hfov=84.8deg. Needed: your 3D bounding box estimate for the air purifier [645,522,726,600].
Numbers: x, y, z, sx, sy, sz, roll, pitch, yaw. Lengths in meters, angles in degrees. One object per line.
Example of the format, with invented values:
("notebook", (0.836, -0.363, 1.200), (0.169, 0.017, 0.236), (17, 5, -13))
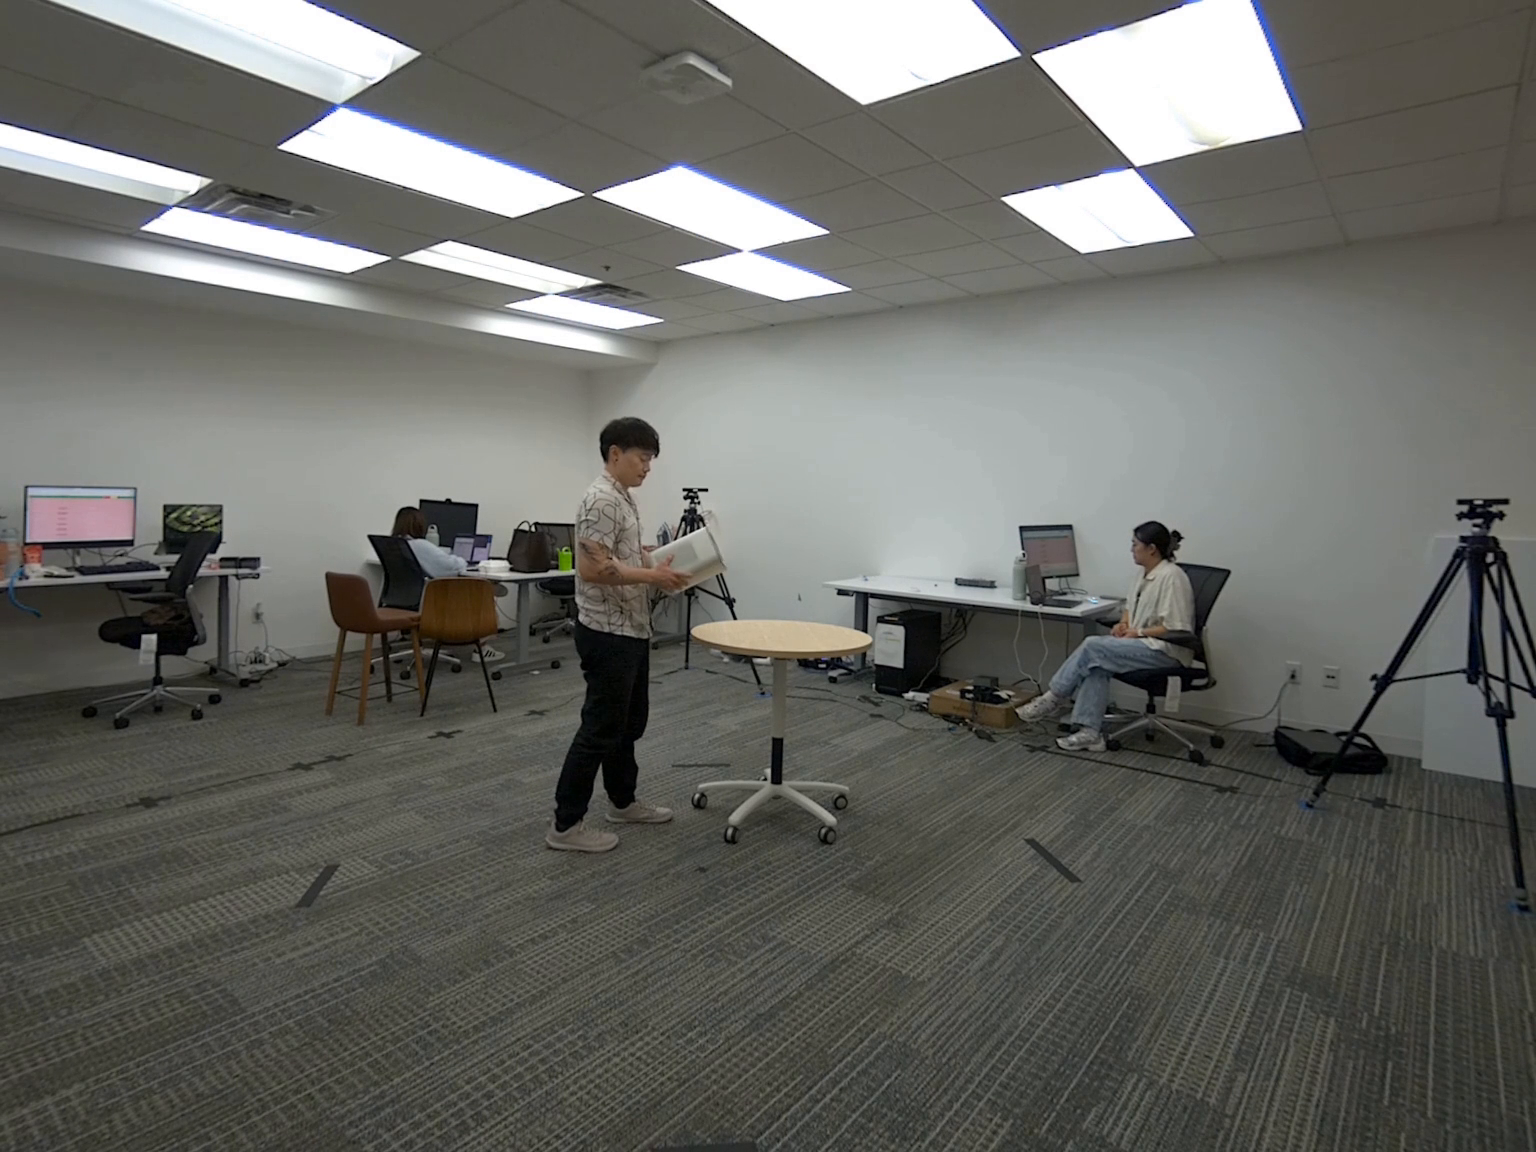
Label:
("air purifier", (-0.335, -0.058, 3.316), (0.266, 0.176, 0.166), (-23, -20, 2))
